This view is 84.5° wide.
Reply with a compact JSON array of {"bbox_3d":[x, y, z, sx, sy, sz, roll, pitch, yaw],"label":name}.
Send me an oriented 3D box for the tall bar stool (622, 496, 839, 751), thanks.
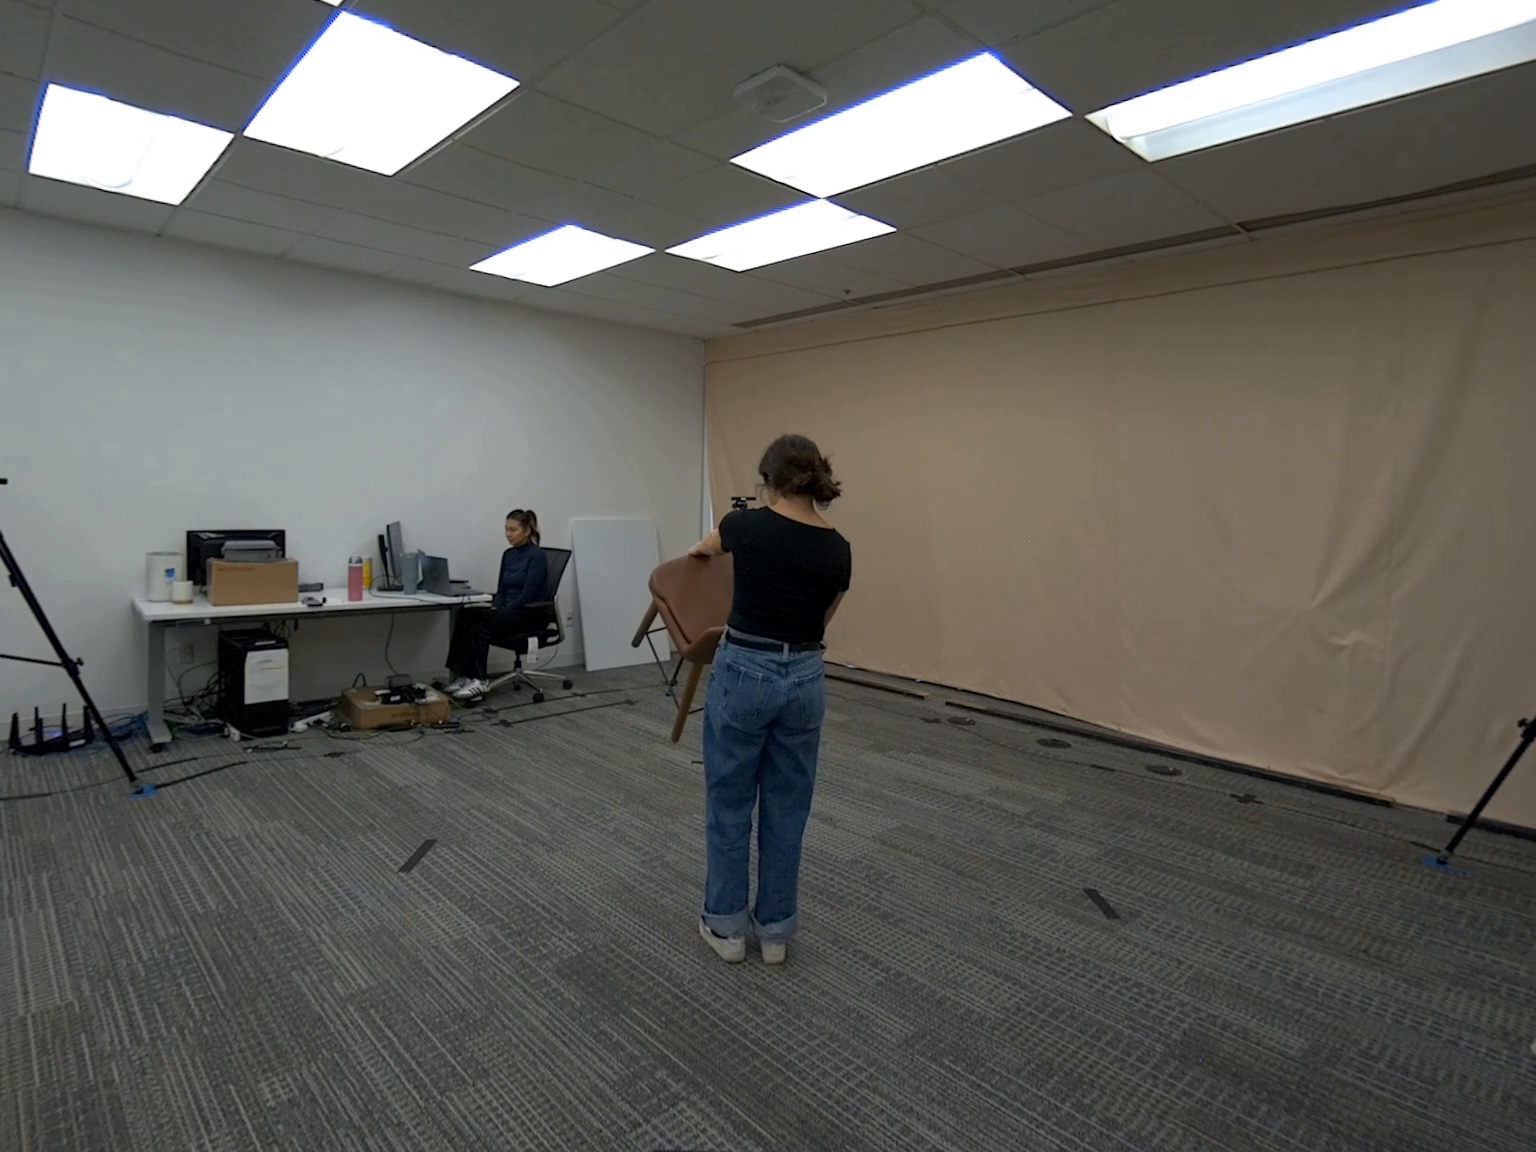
[{"bbox_3d":[-0.184,0.188,3.015,0.450,0.478,0.880,-12,-27,-23],"label":"tall bar stool"}]
